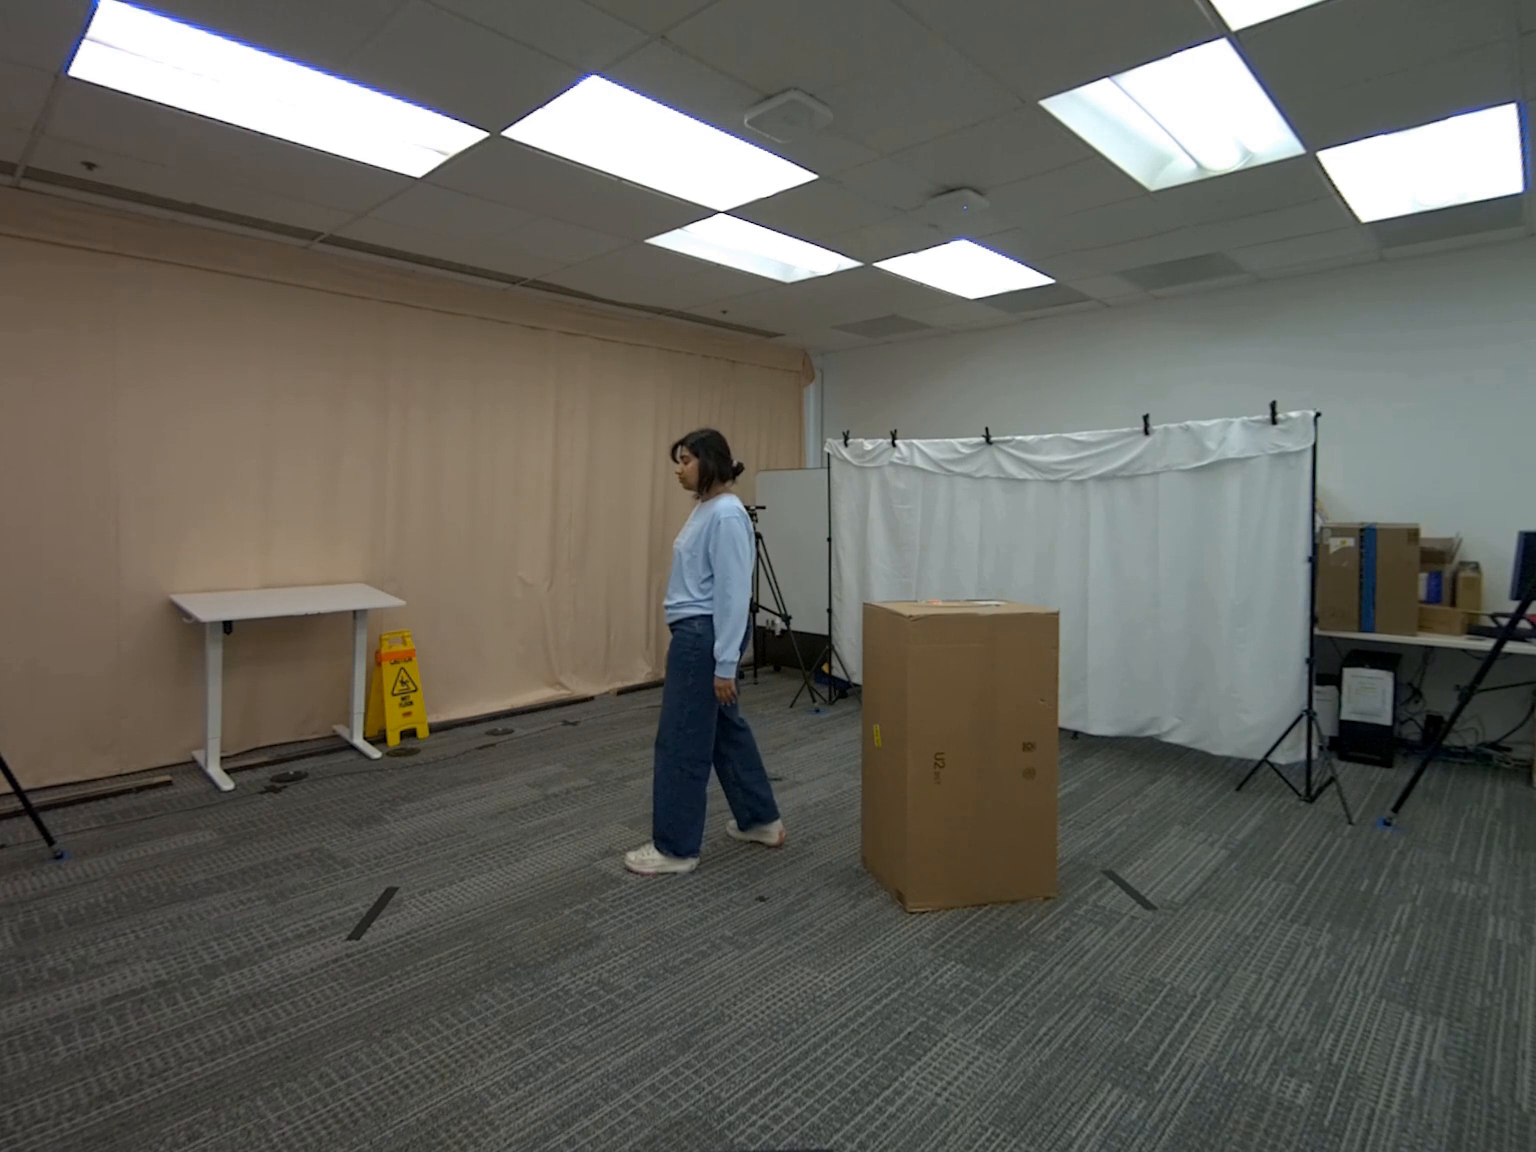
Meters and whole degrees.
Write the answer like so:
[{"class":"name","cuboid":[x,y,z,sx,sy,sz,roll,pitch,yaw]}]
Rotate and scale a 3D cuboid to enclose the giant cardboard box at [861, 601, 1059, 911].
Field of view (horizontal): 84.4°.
[{"class":"giant cardboard box","cuboid":[0.701,0.621,3.111,0.576,1.025,0.453,0,2,-13]}]
